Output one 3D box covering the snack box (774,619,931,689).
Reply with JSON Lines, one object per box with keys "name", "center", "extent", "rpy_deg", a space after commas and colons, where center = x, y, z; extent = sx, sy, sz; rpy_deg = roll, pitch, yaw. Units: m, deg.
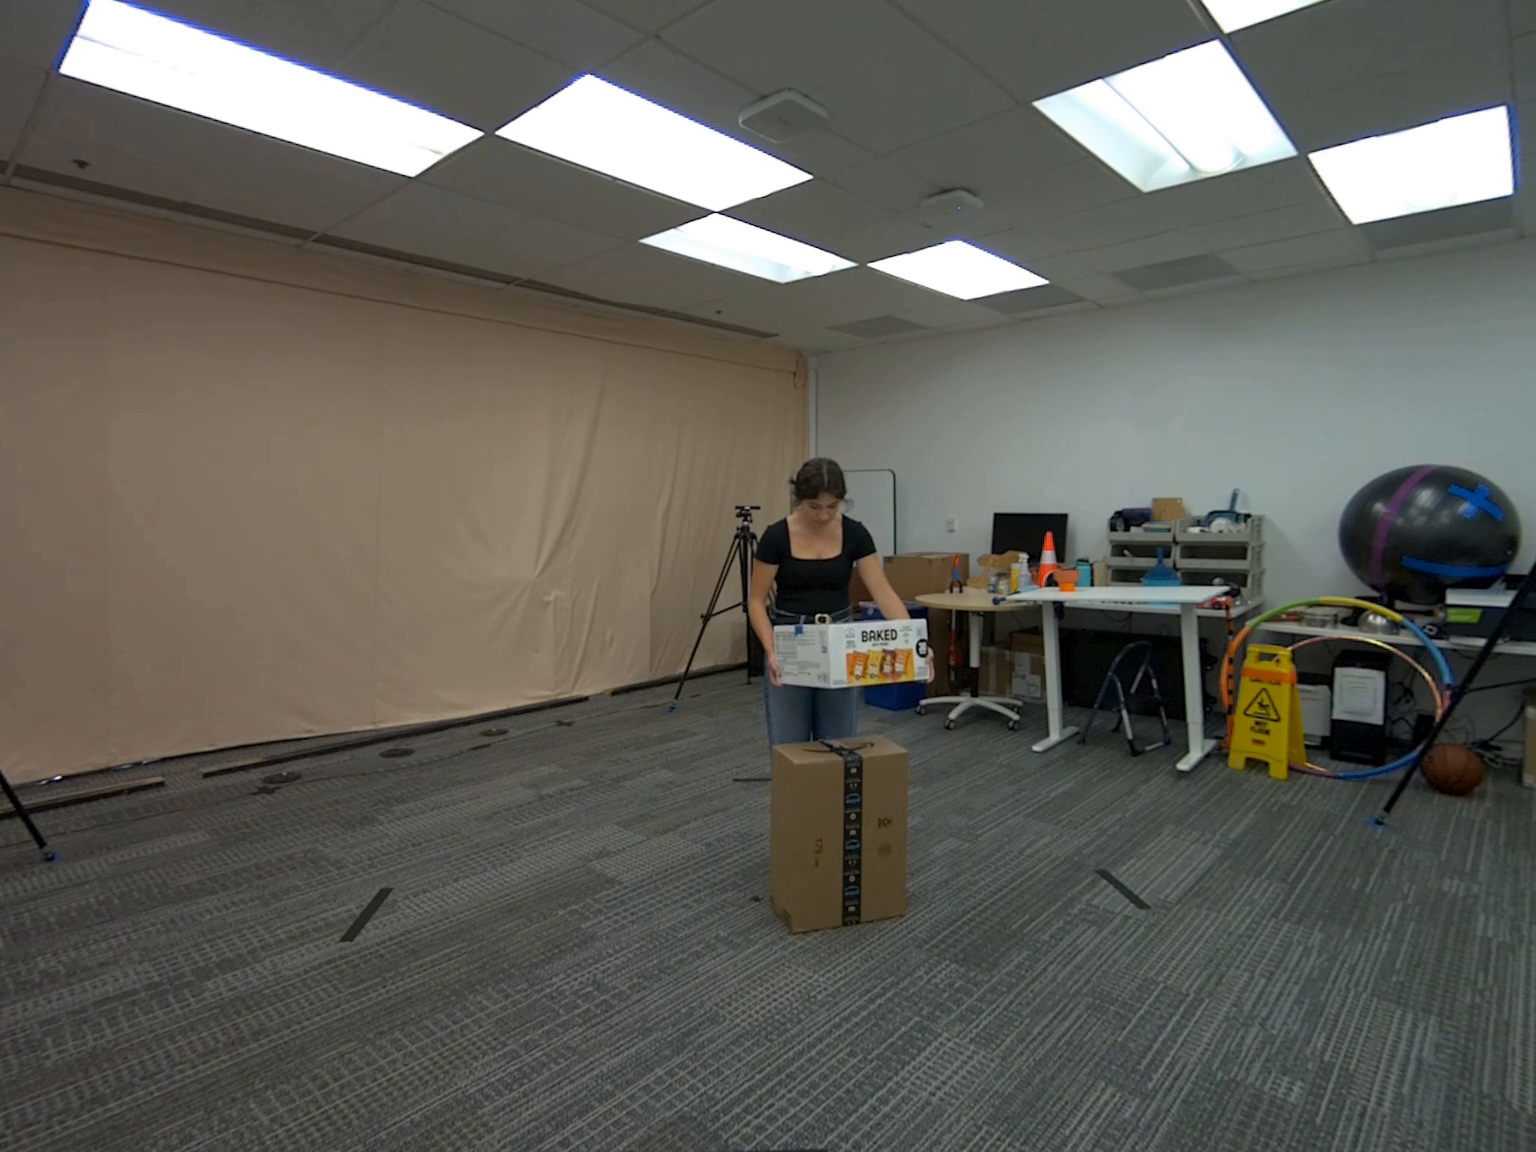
{"name": "snack box", "center": [0.283, 0.265, 2.901], "extent": [0.394, 0.206, 0.348], "rpy_deg": [-1, -4, -29]}
